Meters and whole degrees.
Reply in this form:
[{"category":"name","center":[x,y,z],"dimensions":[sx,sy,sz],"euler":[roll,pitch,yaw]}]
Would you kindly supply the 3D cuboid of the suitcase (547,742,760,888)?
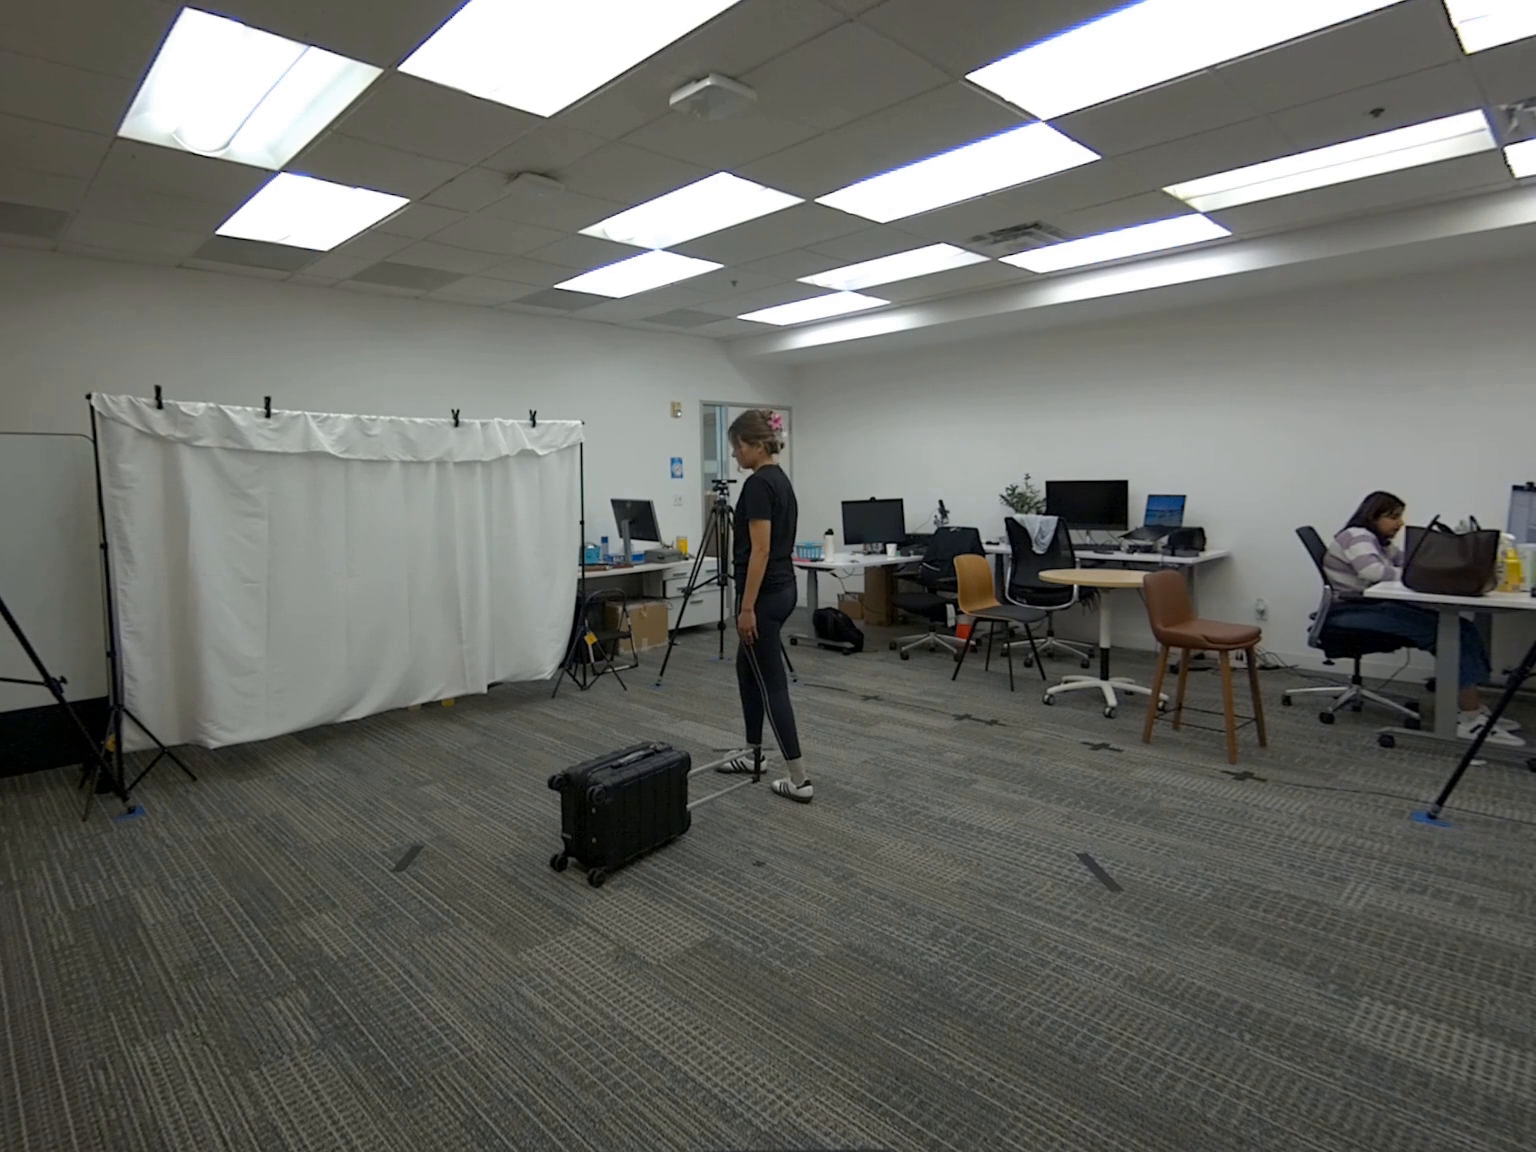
[{"category":"suitcase","center":[-0.419,0.838,3.375],"dimensions":[0.264,0.382,0.955],"euler":[2,7,35]}]
